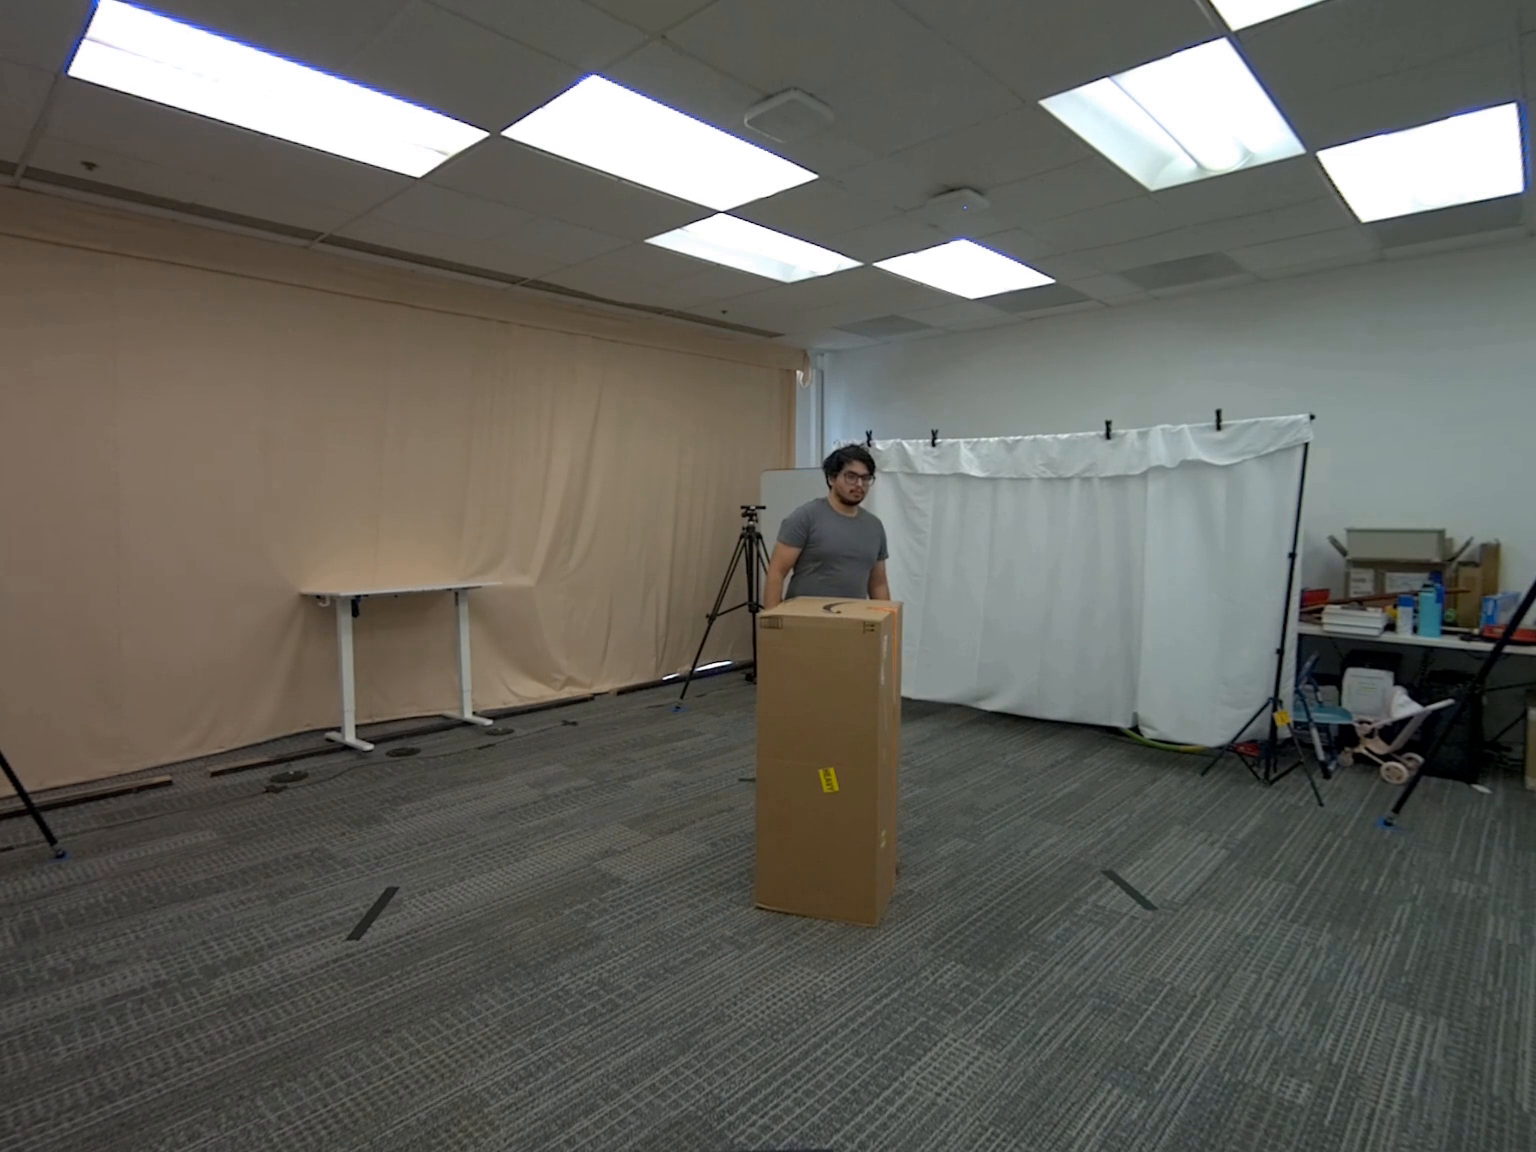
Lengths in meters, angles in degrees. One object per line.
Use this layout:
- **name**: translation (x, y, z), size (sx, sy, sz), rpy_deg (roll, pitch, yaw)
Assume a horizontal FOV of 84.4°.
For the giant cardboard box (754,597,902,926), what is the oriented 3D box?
- **giant cardboard box**: translation (0.241, 0.625, 3.081), size (0.455, 1.025, 0.574), rpy_deg (1, 3, 17)
